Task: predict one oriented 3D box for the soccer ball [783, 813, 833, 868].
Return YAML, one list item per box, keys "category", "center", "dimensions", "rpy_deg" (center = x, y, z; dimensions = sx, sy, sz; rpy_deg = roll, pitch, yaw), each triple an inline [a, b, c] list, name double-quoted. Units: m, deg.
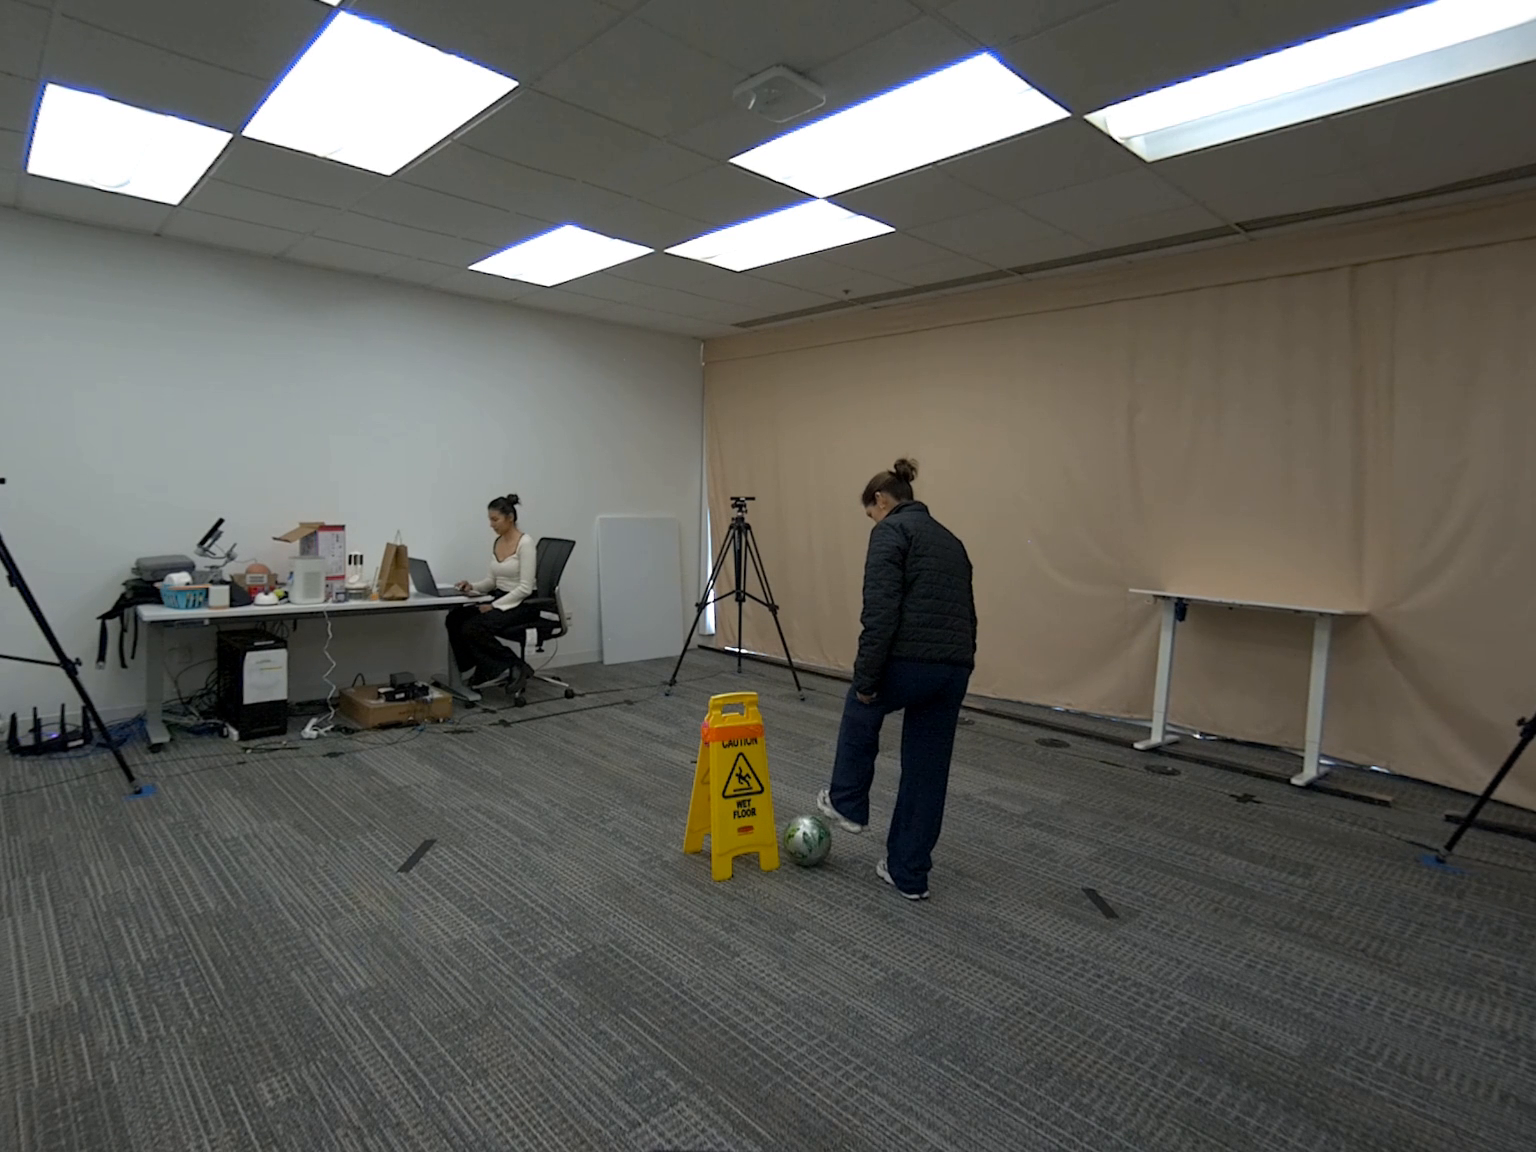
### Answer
- category: "soccer ball"
  center: [0.145, 1.000, 3.221]
  dimensions: [0.187, 0.187, 0.188]
  rpy_deg: [1, 4, -1]
